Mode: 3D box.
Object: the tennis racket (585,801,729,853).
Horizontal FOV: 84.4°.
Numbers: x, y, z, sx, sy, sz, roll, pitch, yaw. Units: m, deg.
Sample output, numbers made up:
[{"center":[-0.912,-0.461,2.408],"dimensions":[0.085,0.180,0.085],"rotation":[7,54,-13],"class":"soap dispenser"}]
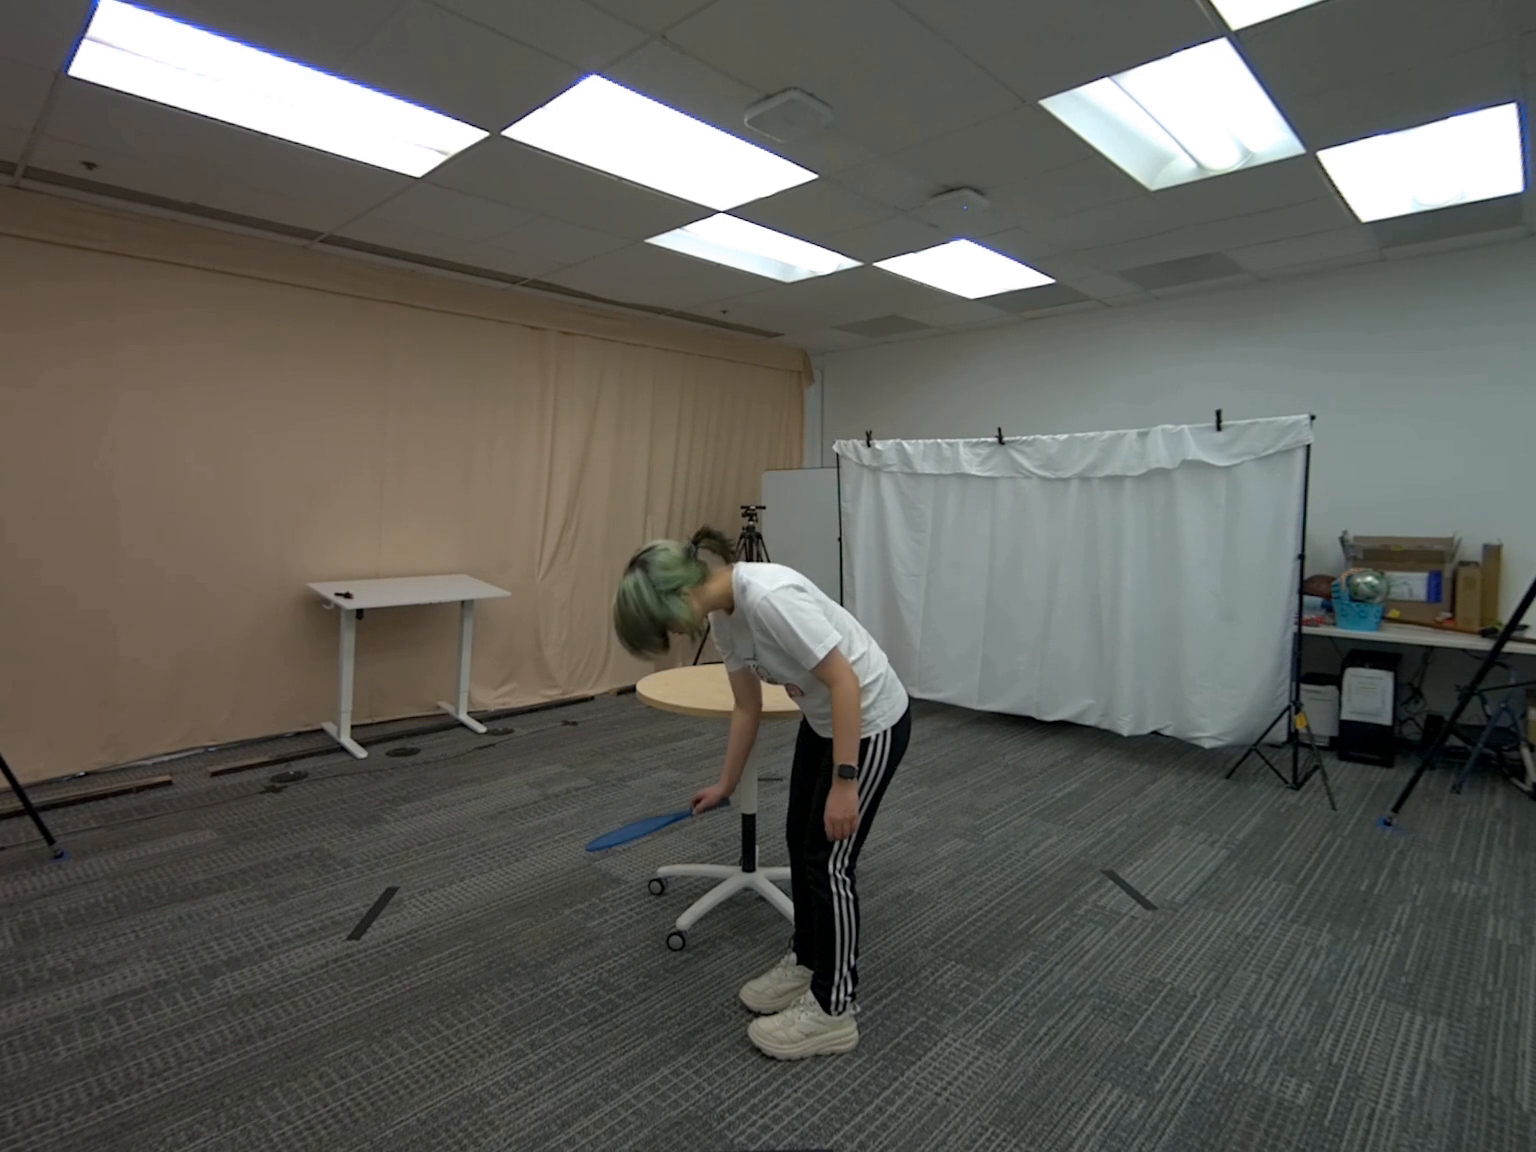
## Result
[{"center":[-0.302,0.712,2.405],"dimensions":[0.432,0.032,0.213],"rotation":[-16,-1,-2],"class":"tennis racket"}]
